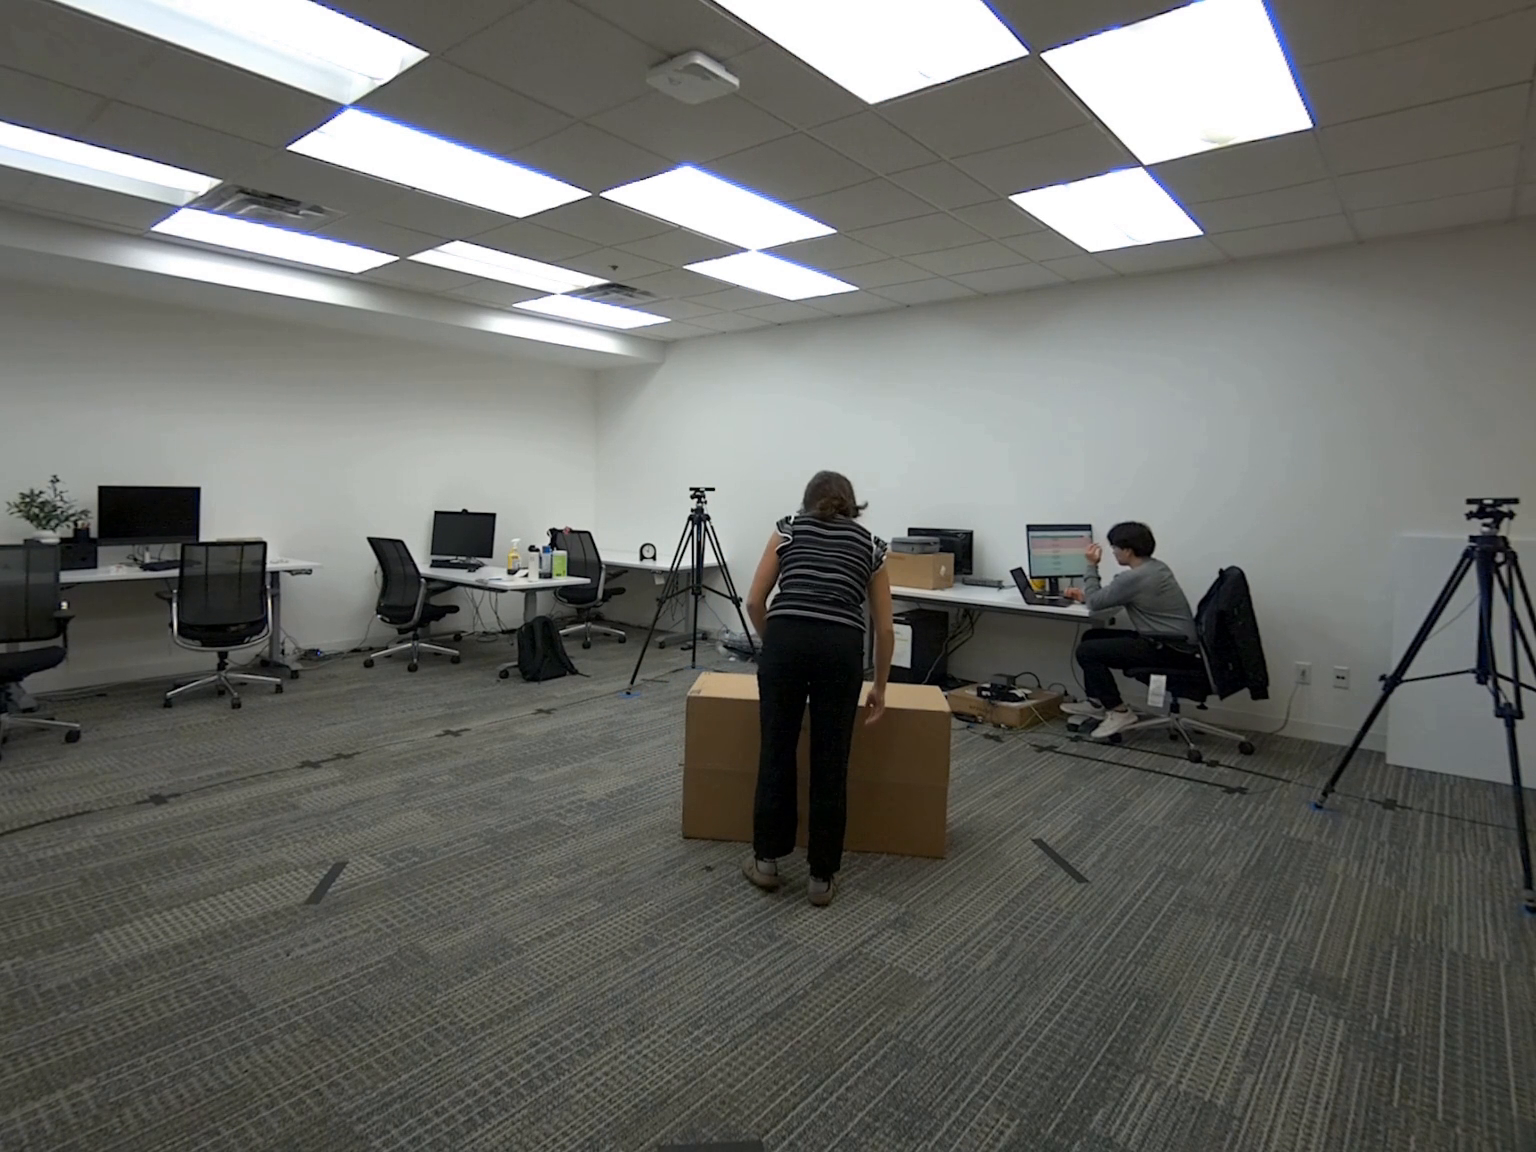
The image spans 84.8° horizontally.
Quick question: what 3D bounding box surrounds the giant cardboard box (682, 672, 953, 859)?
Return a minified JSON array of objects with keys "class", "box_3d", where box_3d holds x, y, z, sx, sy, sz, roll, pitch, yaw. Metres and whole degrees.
[{"class":"giant cardboard box","box_3d":[0.184,0.750,3.502,1.034,0.575,0.424,2,4,7]}]
